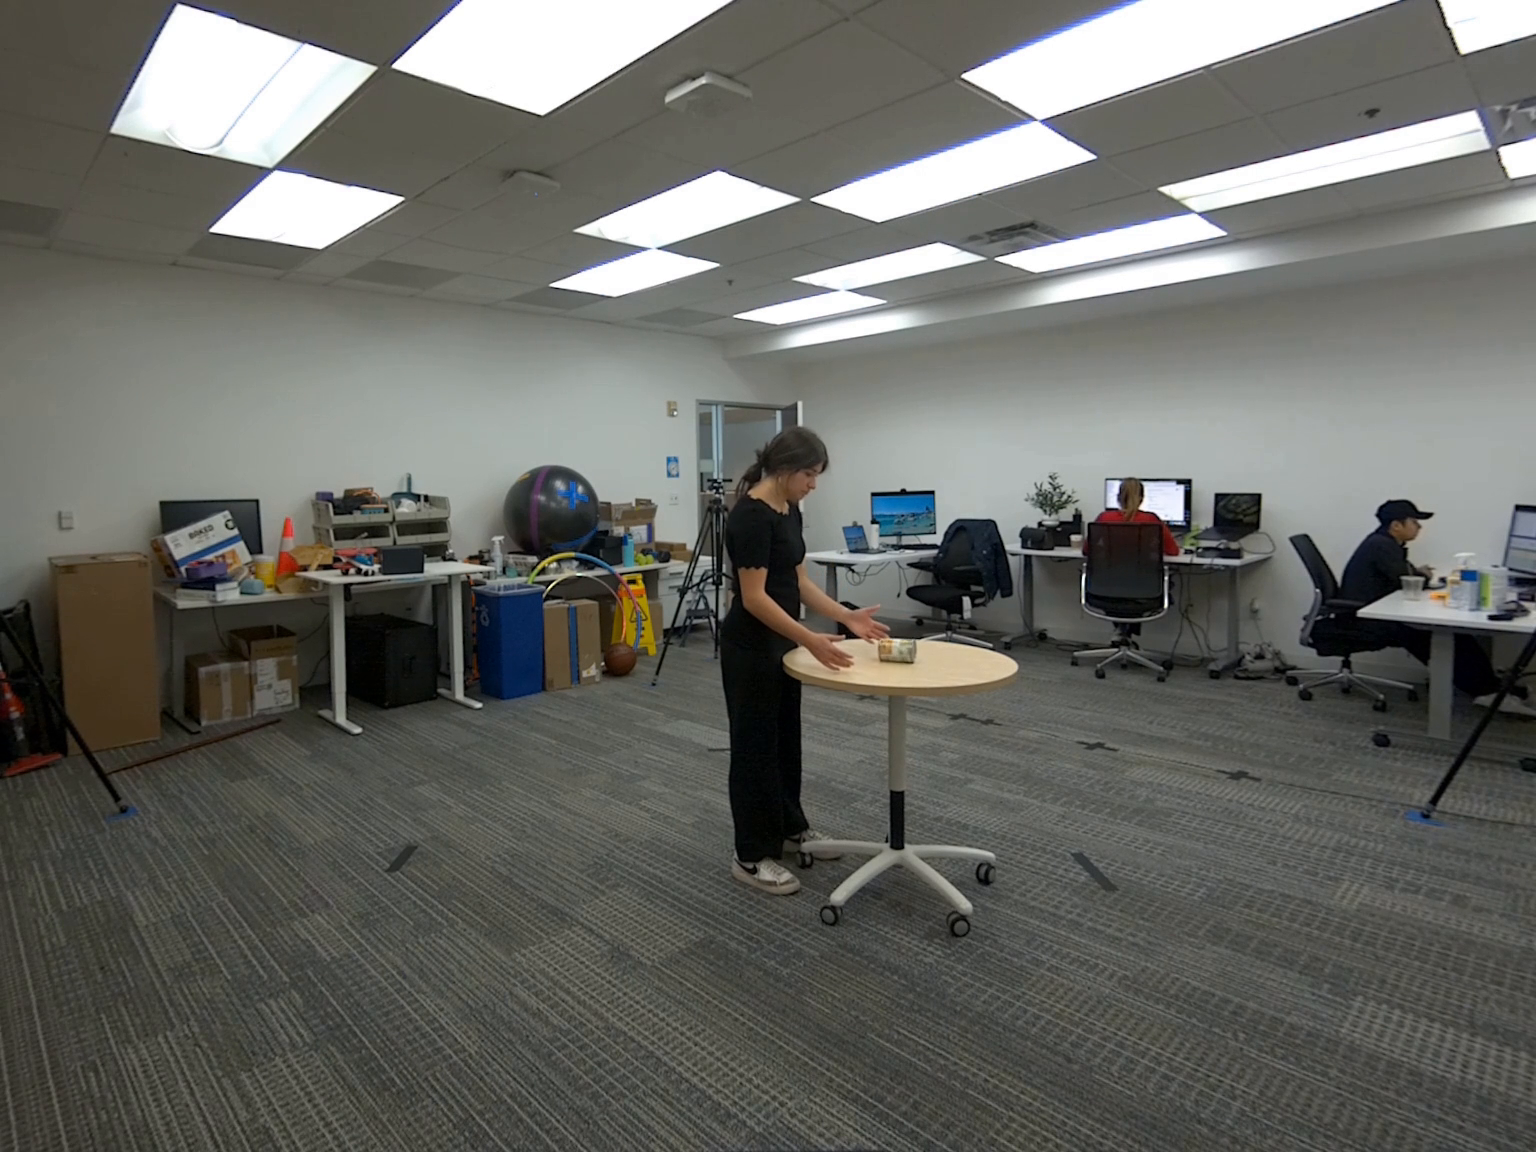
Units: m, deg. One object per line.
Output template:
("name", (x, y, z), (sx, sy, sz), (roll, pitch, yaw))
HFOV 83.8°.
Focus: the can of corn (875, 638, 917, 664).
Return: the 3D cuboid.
("can of corn", (0.427, 0.241, 2.830), (0.112, 0.074, 0.073), (0, 5, 14))
